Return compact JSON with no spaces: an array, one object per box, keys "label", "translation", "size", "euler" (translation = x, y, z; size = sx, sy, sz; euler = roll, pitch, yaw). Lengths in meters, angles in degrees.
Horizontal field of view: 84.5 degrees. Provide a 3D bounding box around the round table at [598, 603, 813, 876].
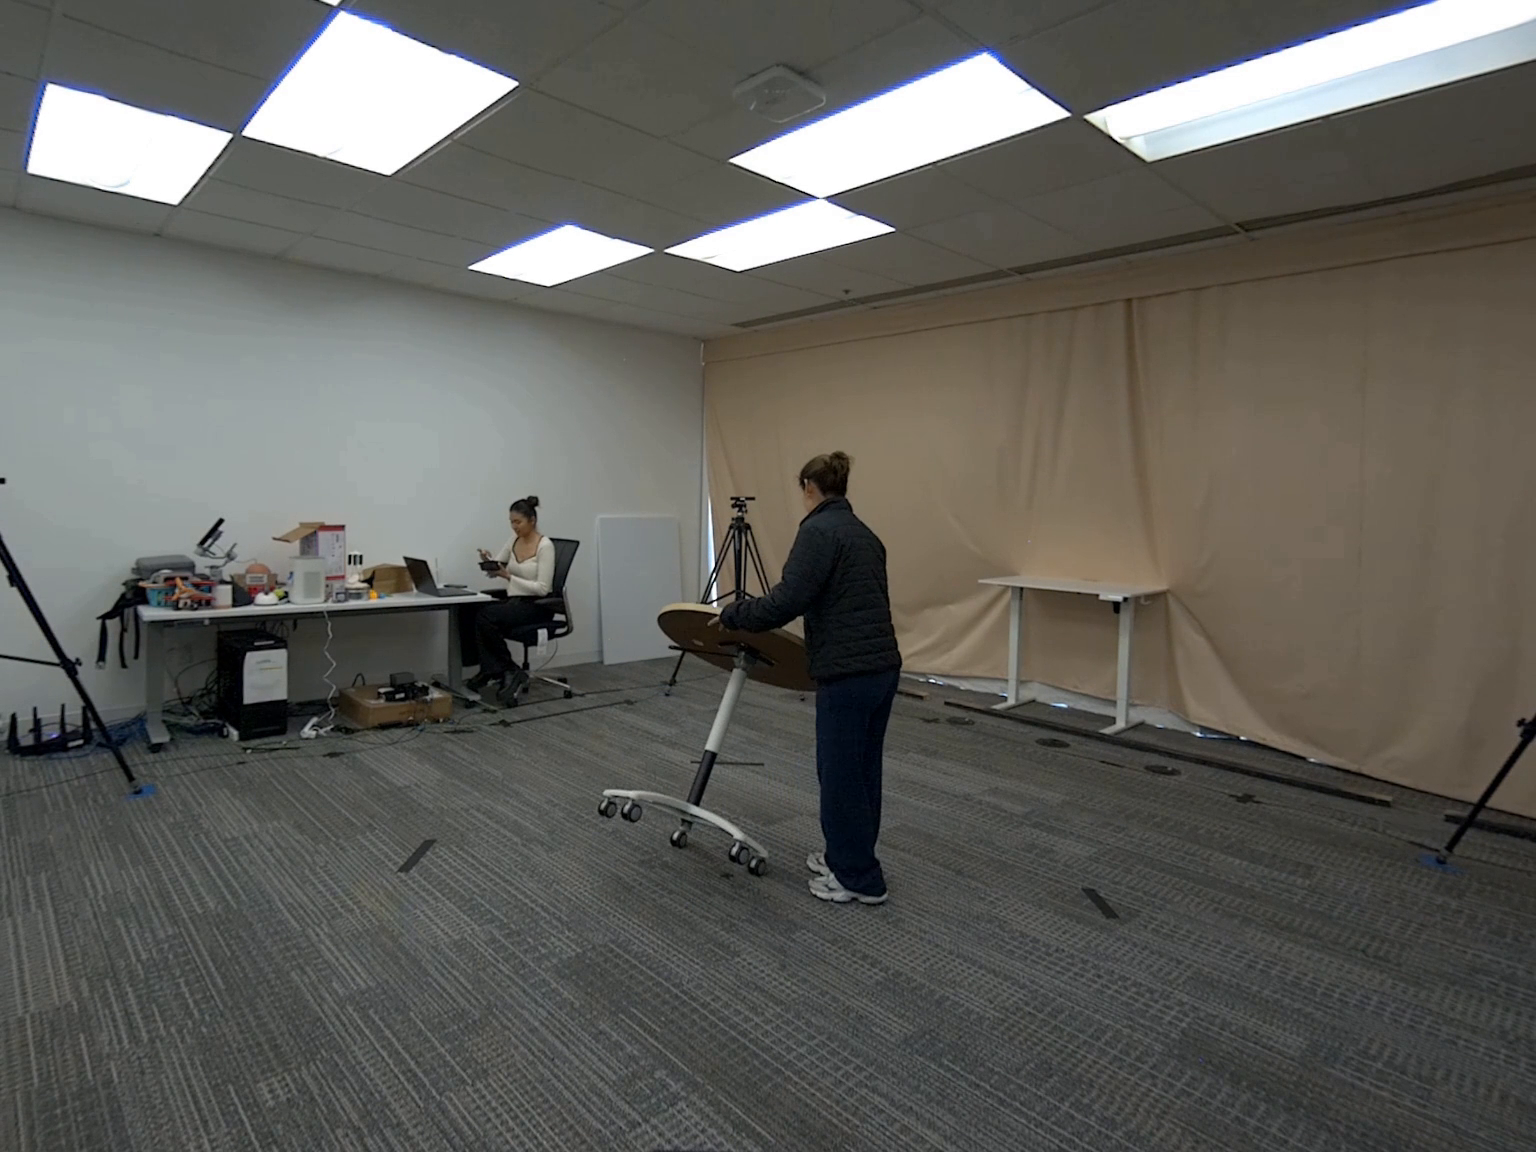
[{"label":"round table","translation":[-0.204,0.623,3.177],"size":[0.790,0.793,0.773],"euler":[17,-22,6]}]
